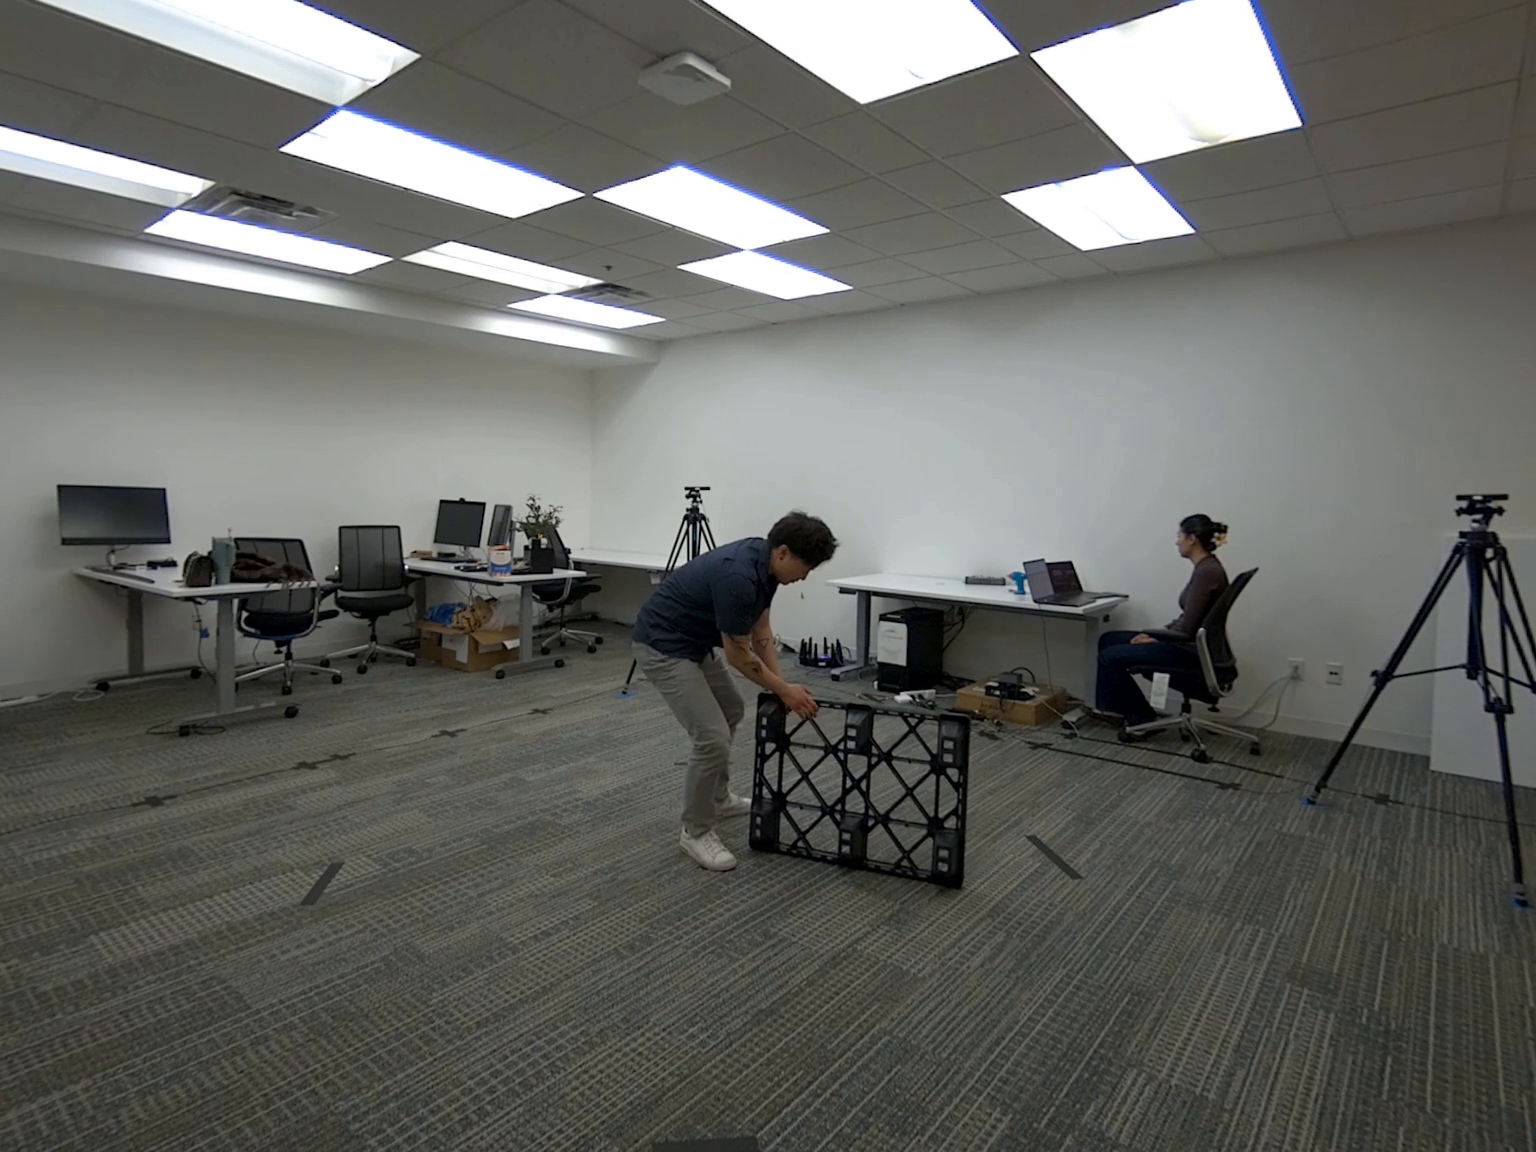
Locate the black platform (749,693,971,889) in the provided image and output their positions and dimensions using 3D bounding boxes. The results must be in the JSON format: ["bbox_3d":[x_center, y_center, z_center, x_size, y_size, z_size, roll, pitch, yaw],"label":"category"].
[{"bbox_3d":[0.314,0.765,3.121,0.824,0.607,0.140,3,-3,21],"label":"black platform"}]
